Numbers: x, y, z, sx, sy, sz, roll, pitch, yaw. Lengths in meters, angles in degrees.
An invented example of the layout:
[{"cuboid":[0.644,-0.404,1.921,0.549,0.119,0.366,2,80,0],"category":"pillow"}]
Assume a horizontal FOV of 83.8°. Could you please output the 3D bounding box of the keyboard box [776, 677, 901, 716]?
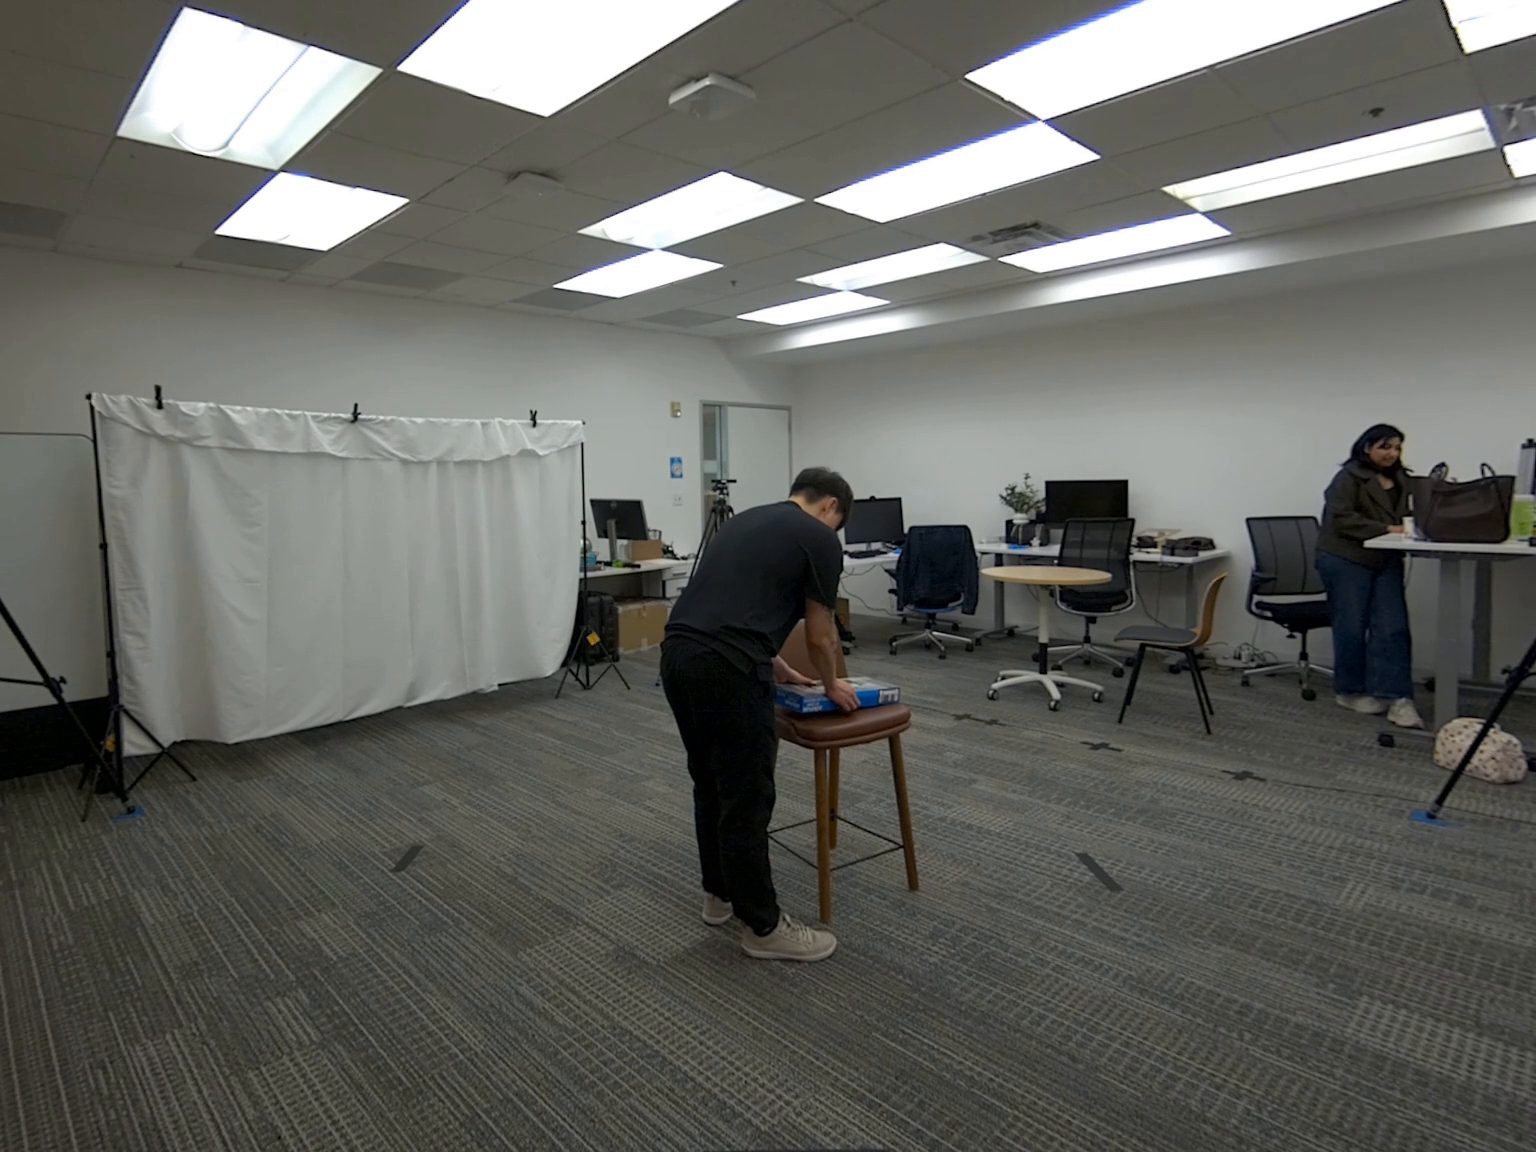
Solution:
[{"cuboid":[0.236,0.409,2.896,0.425,0.059,0.181,2,4,-31],"category":"keyboard box"}]
